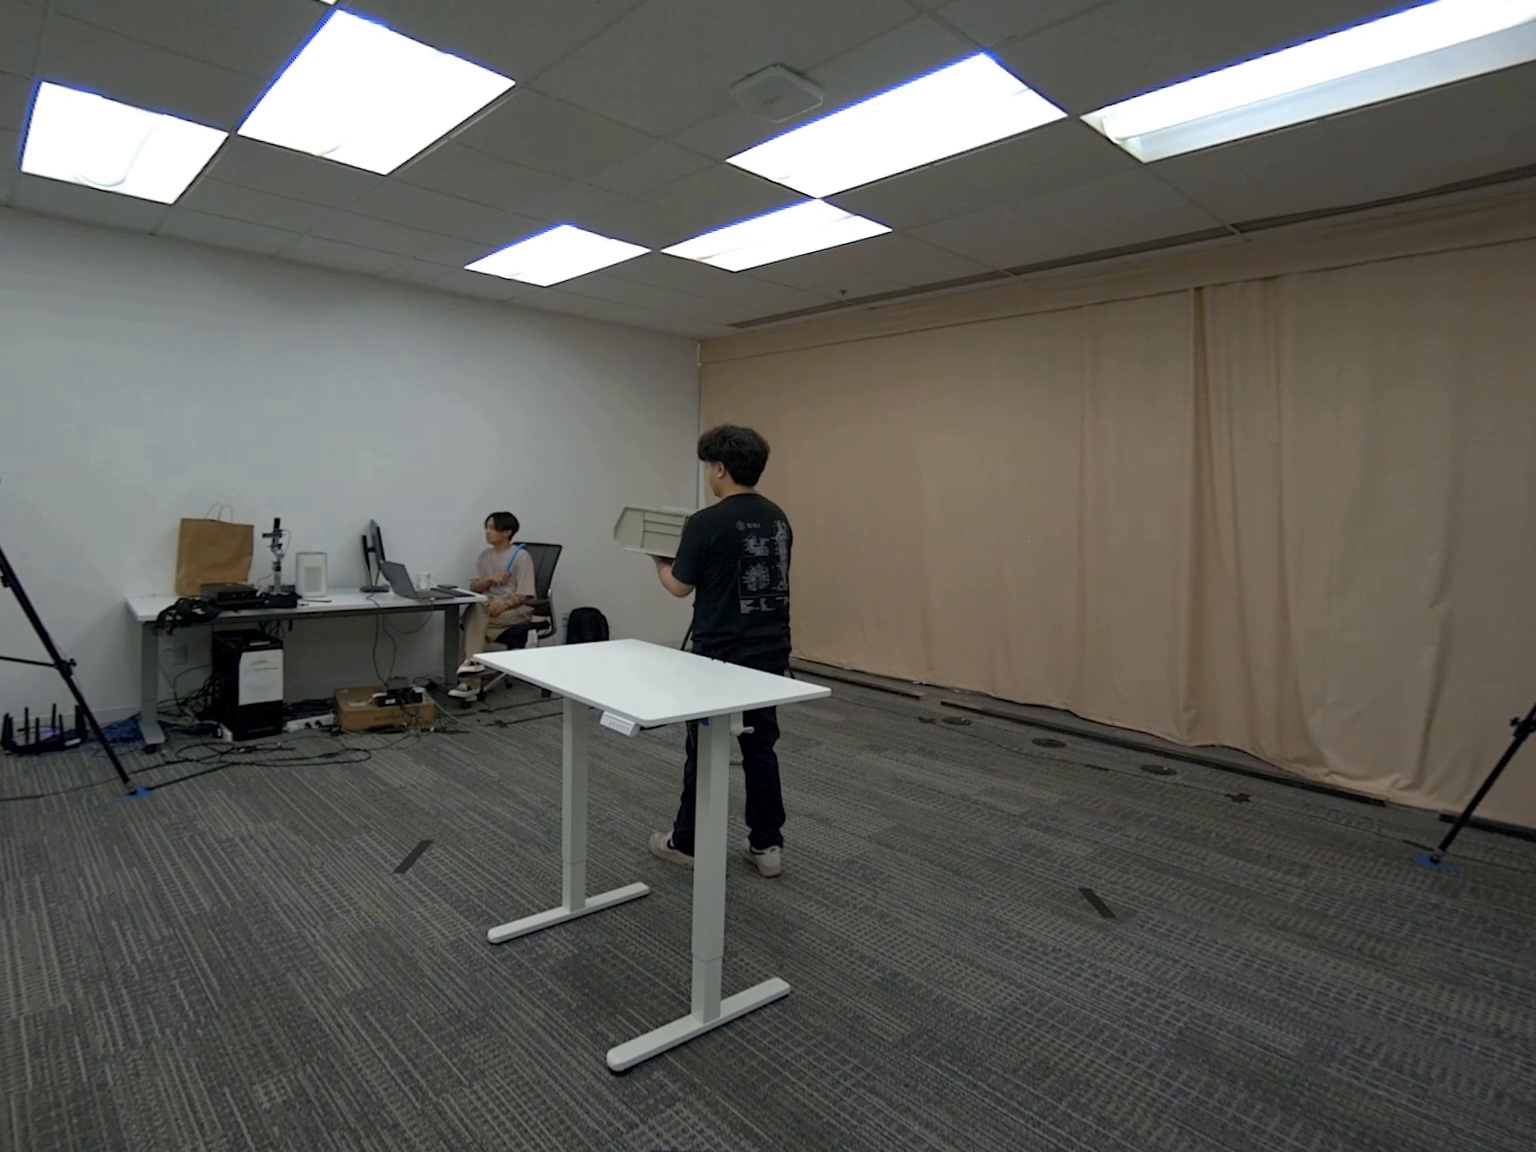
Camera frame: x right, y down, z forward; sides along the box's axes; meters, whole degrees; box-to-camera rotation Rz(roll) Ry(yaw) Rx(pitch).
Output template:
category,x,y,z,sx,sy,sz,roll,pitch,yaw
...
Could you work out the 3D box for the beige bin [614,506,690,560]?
category,x,y,z,sx,sy,sz,roll,pitch,yaw
beige bin,-0.404,-0.185,3.457,0.380,0.188,0.420,10,5,8
